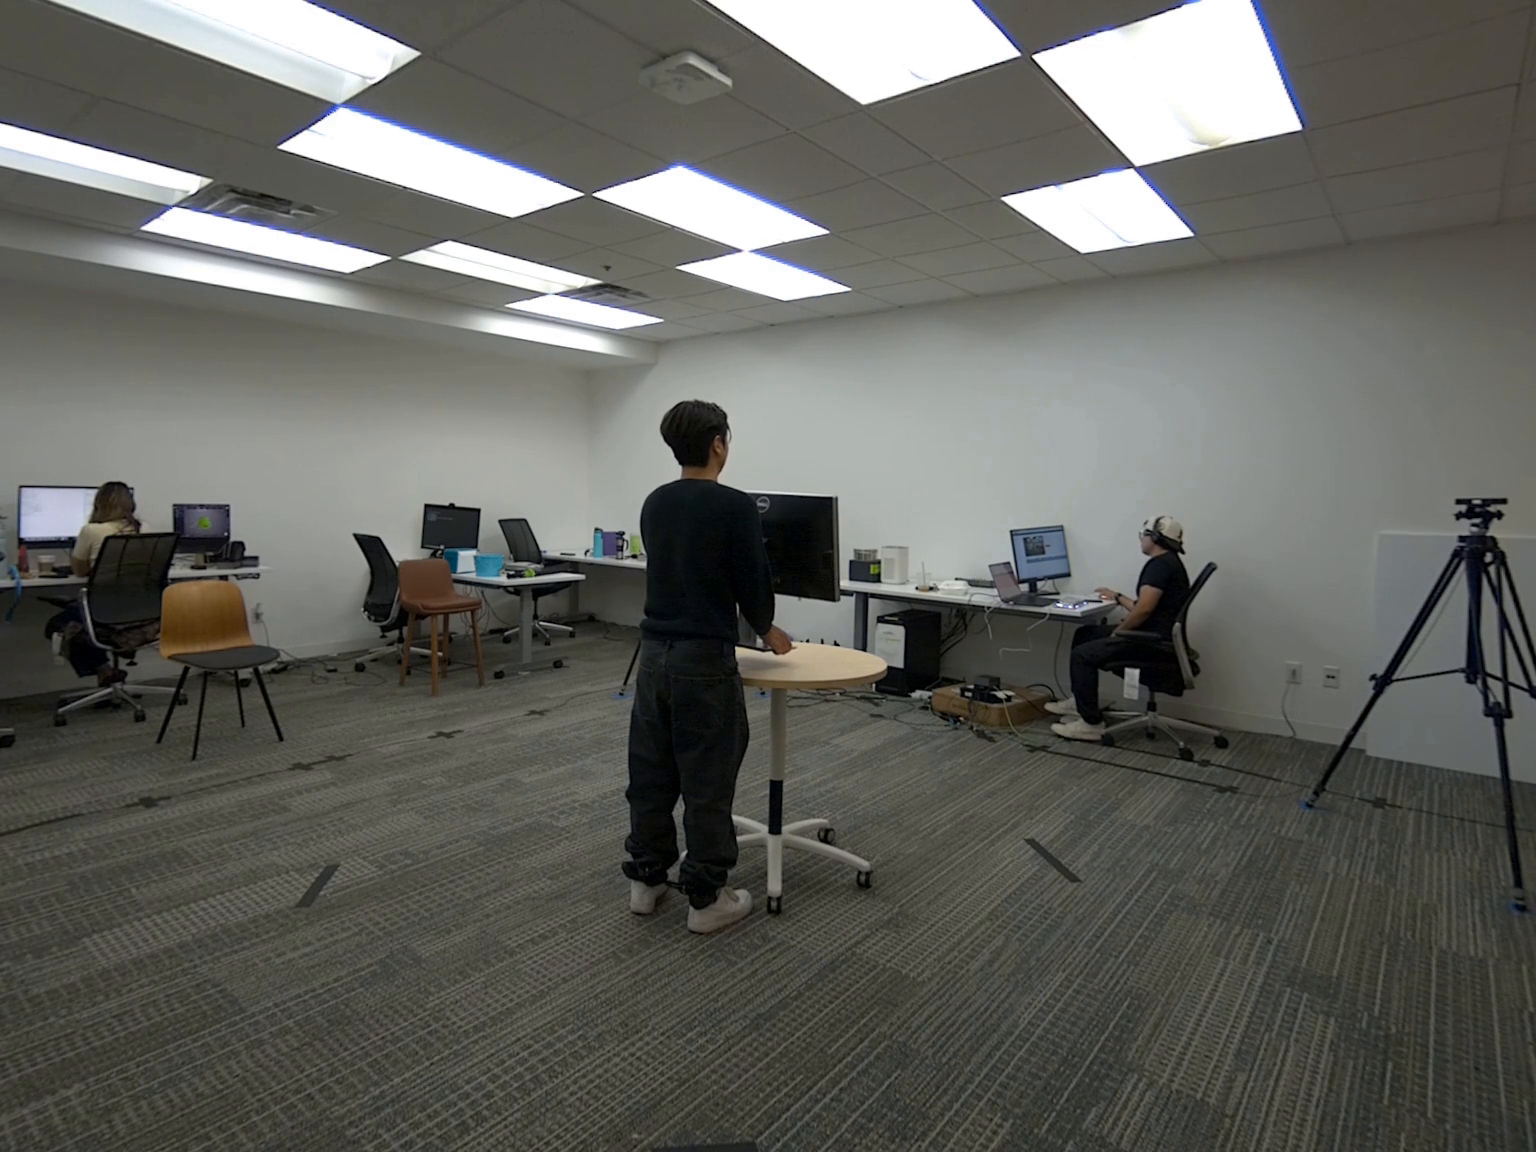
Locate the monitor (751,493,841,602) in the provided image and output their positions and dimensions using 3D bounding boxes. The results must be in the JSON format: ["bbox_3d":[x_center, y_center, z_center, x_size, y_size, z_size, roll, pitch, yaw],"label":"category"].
[{"bbox_3d":[-0.030,-0.031,2.982,0.557,0.522,0.181,7,1,36],"label":"monitor"}]
